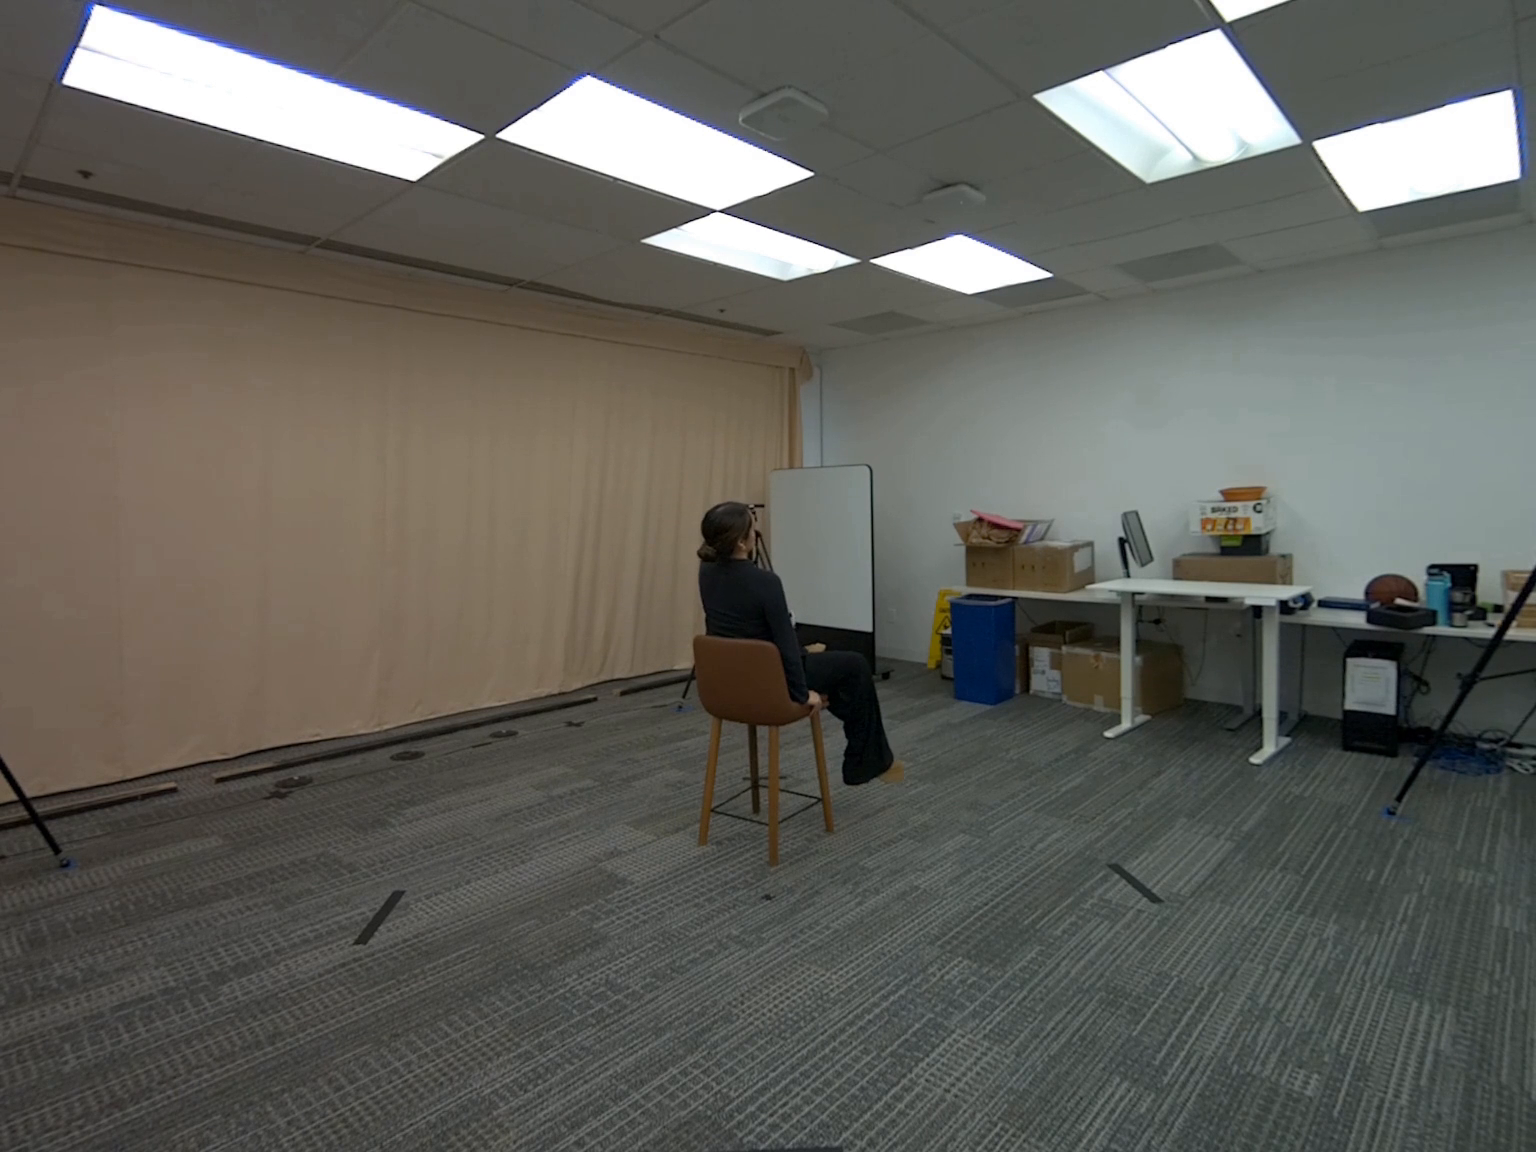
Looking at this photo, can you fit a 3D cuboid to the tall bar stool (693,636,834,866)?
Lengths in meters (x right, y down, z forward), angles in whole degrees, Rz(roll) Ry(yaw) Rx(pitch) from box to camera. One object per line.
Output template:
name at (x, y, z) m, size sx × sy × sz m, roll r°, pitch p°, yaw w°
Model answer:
tall bar stool at (-0.021, 0.664, 3.501) m, size 0.471 × 0.887 × 0.455 m, roll 1°, pitch 5°, yaw 35°
